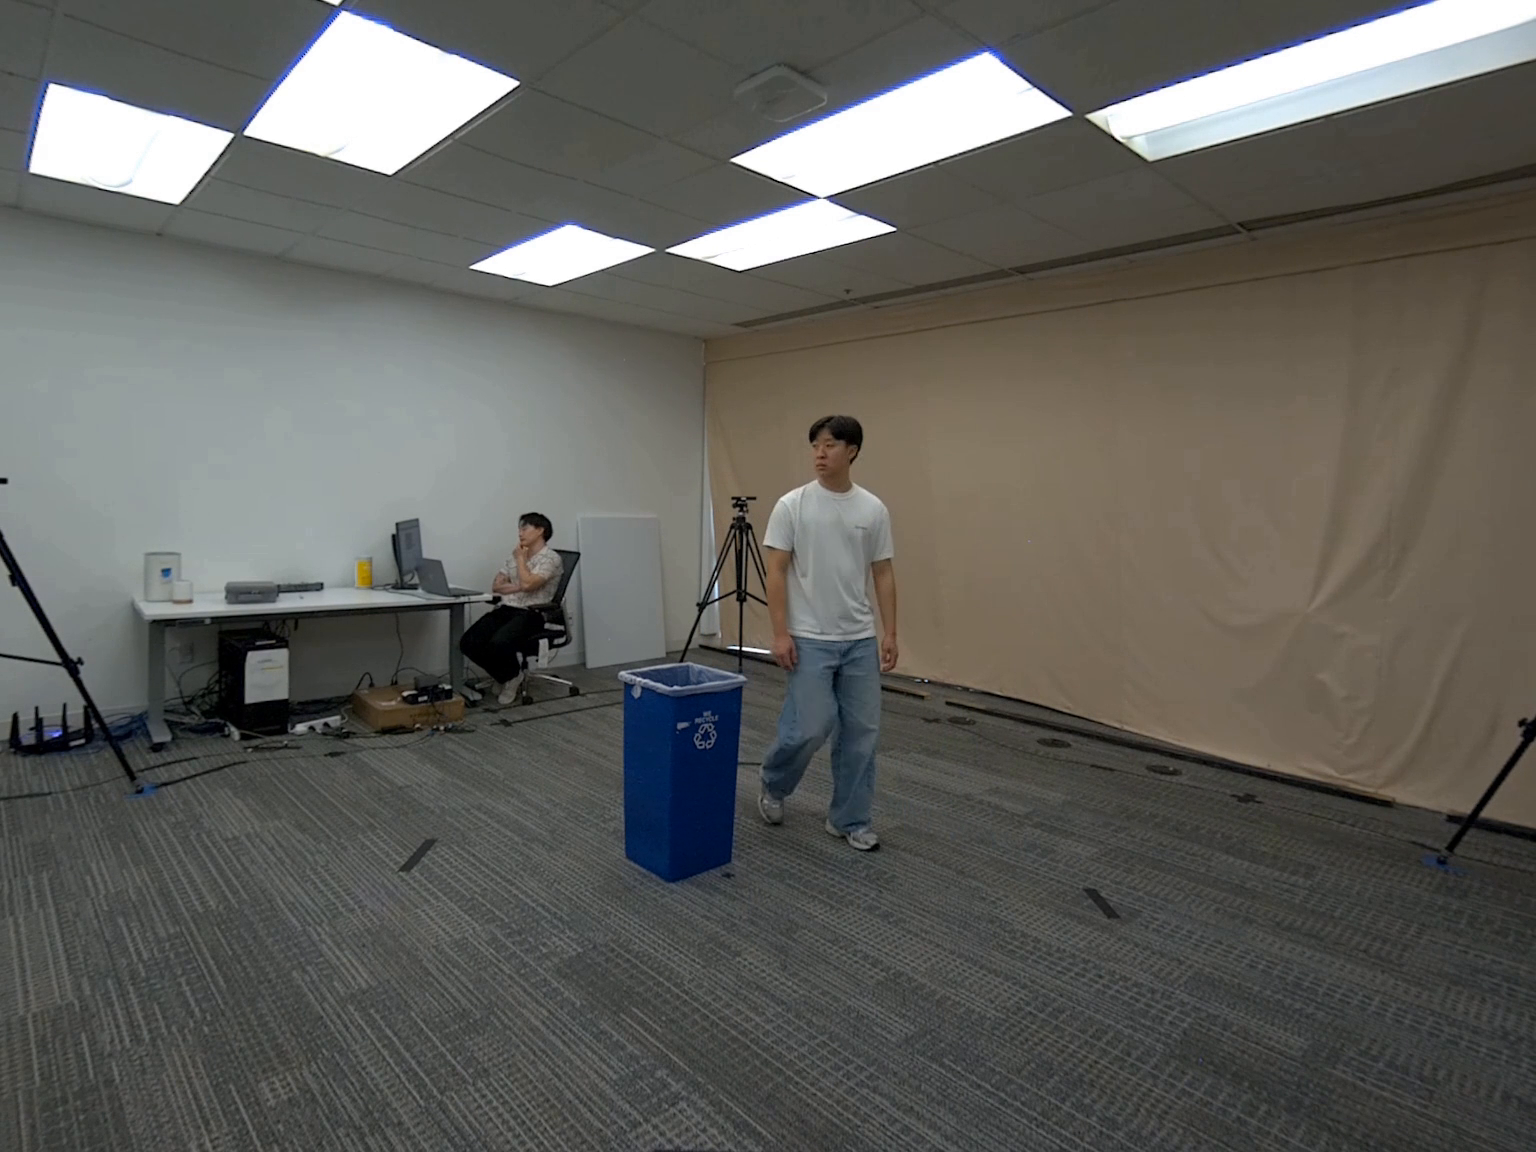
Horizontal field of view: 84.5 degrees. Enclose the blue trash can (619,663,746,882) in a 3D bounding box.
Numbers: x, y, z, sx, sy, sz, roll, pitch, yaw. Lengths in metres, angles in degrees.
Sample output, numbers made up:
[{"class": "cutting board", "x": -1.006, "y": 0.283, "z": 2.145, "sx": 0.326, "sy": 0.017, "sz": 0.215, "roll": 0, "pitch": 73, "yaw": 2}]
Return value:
[{"class": "blue trash can", "x": -0.340, "y": 0.732, "z": 3.226, "sx": 0.365, "sy": 0.712, "sz": 0.388, "roll": -2, "pitch": 5, "yaw": -43}]
